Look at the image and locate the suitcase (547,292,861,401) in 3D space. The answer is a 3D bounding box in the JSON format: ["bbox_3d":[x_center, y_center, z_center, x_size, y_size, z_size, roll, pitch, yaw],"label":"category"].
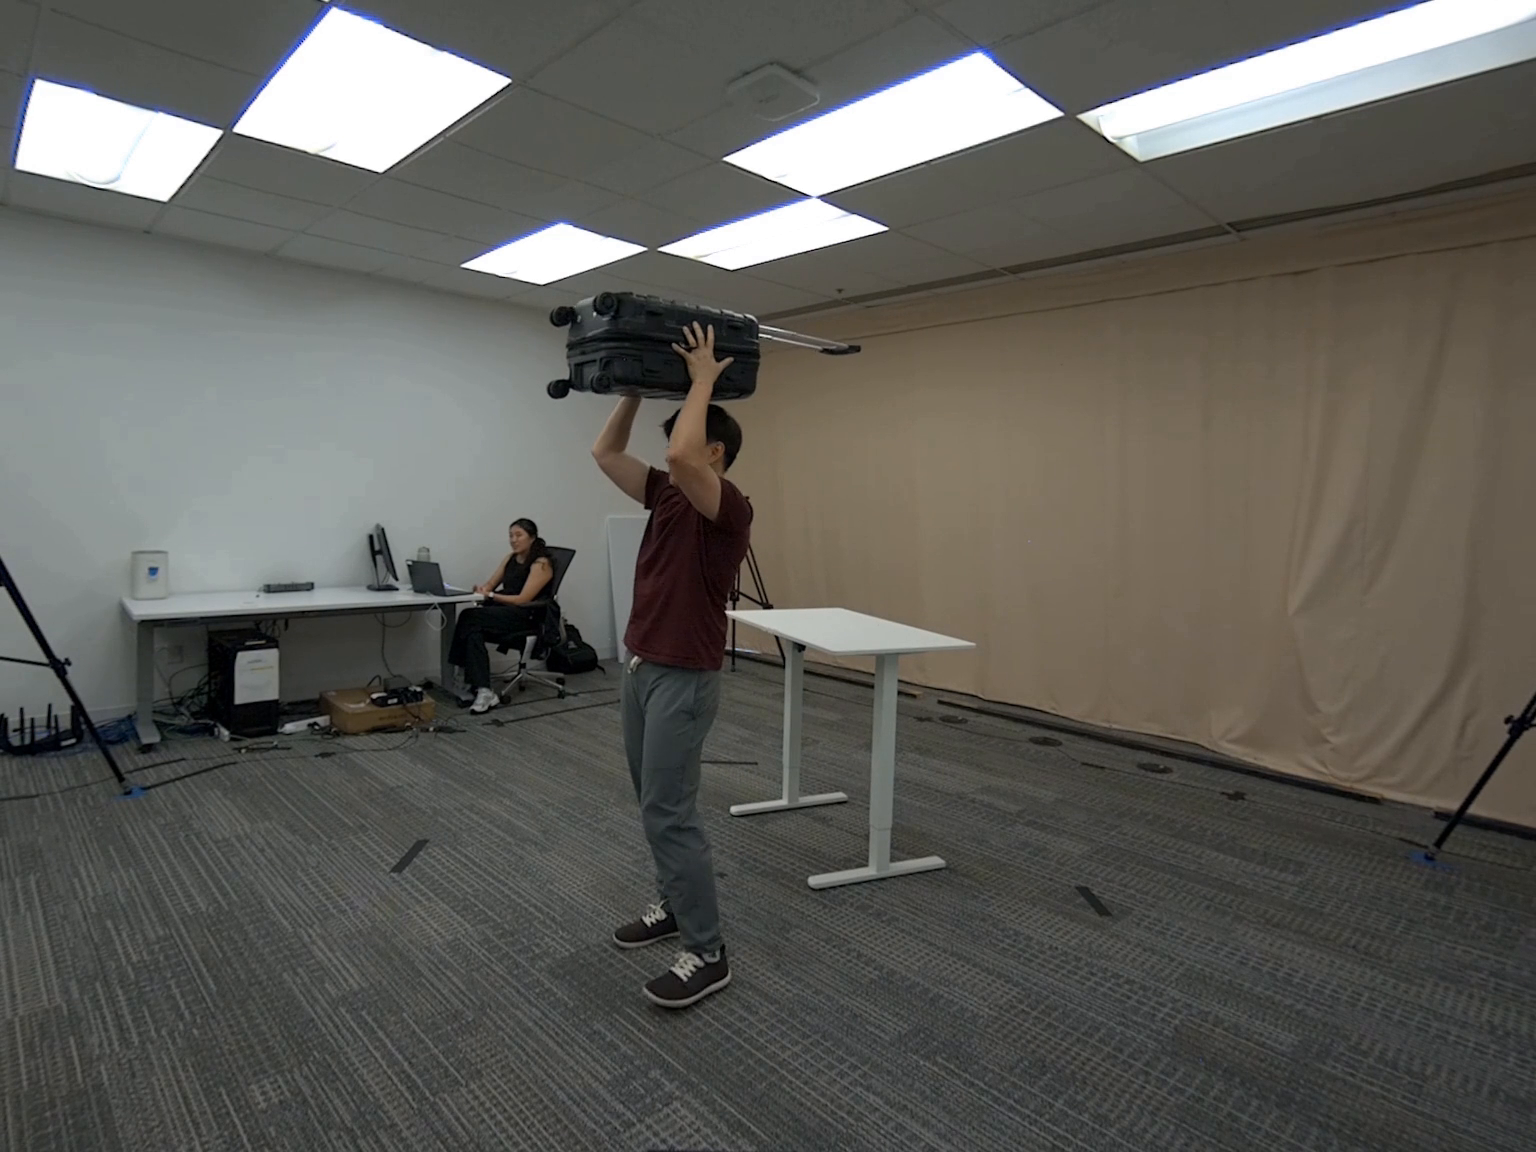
[{"bbox_3d":[-0.152,-0.647,2.551,0.957,0.256,0.394,-1,7,-34],"label":"suitcase"}]
